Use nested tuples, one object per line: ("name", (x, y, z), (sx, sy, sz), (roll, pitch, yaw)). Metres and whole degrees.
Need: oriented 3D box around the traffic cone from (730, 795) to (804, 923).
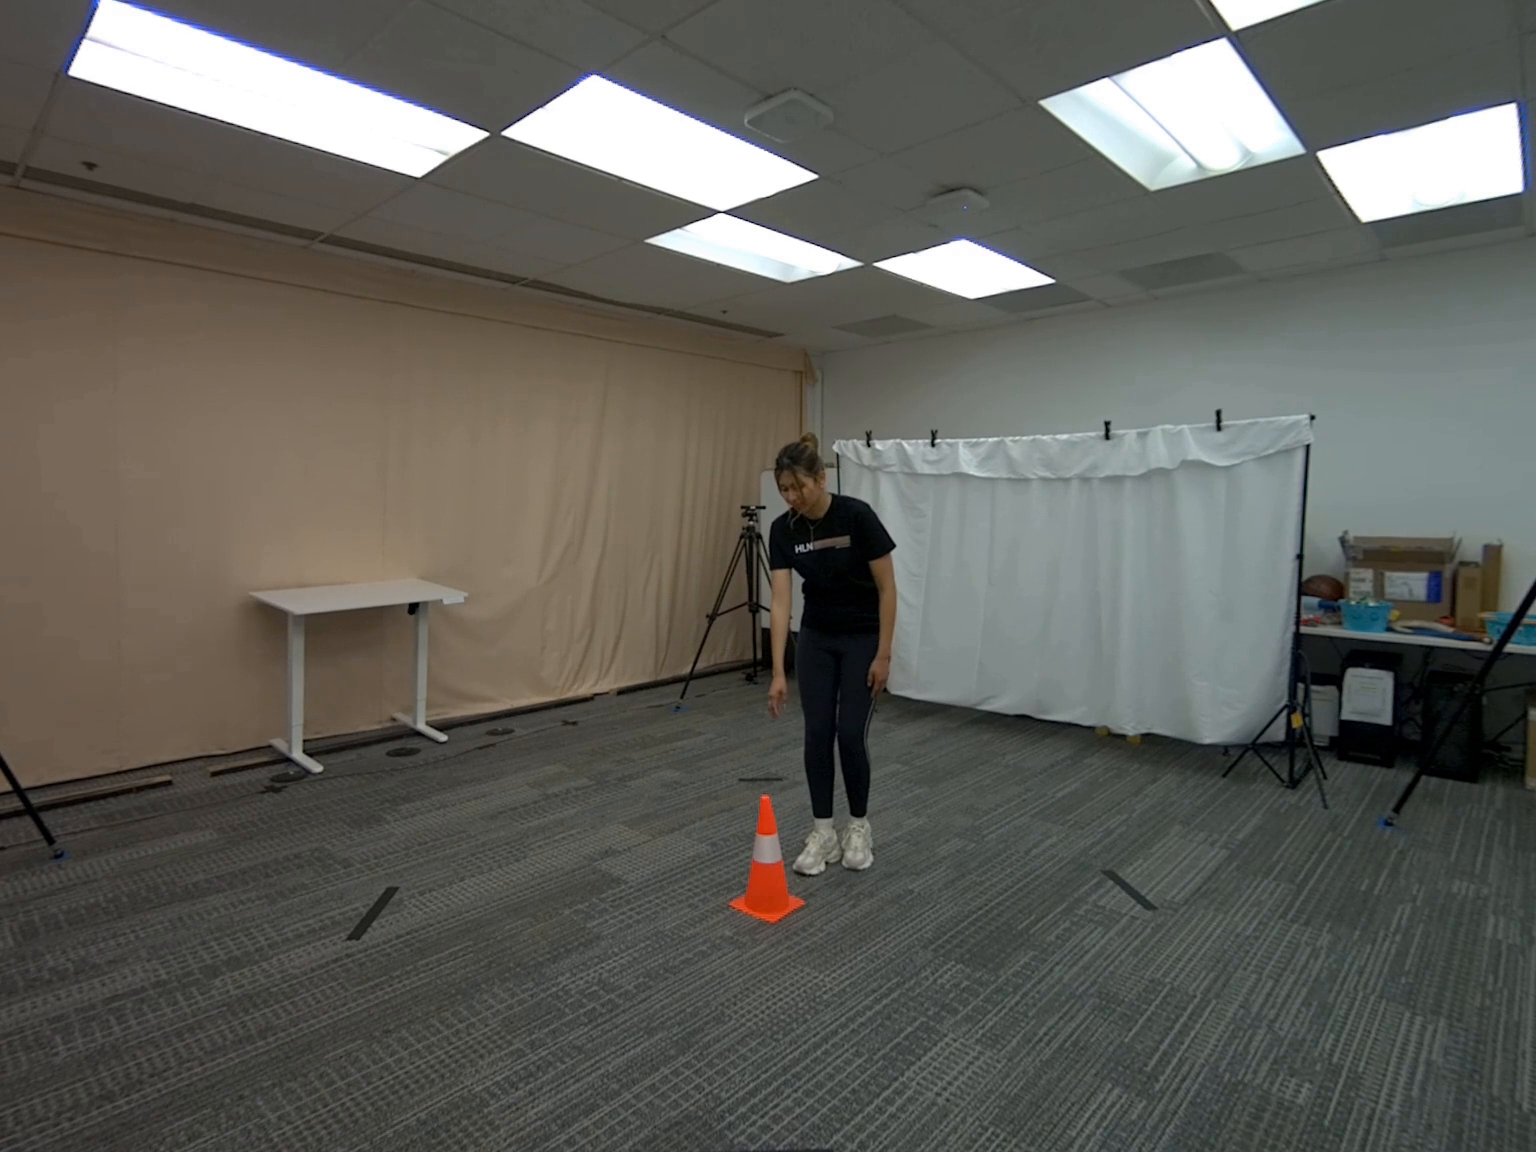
("traffic cone", (-0.006, 0.964, 2.930), (0.210, 0.383, 0.199), (1, 5, 36))
